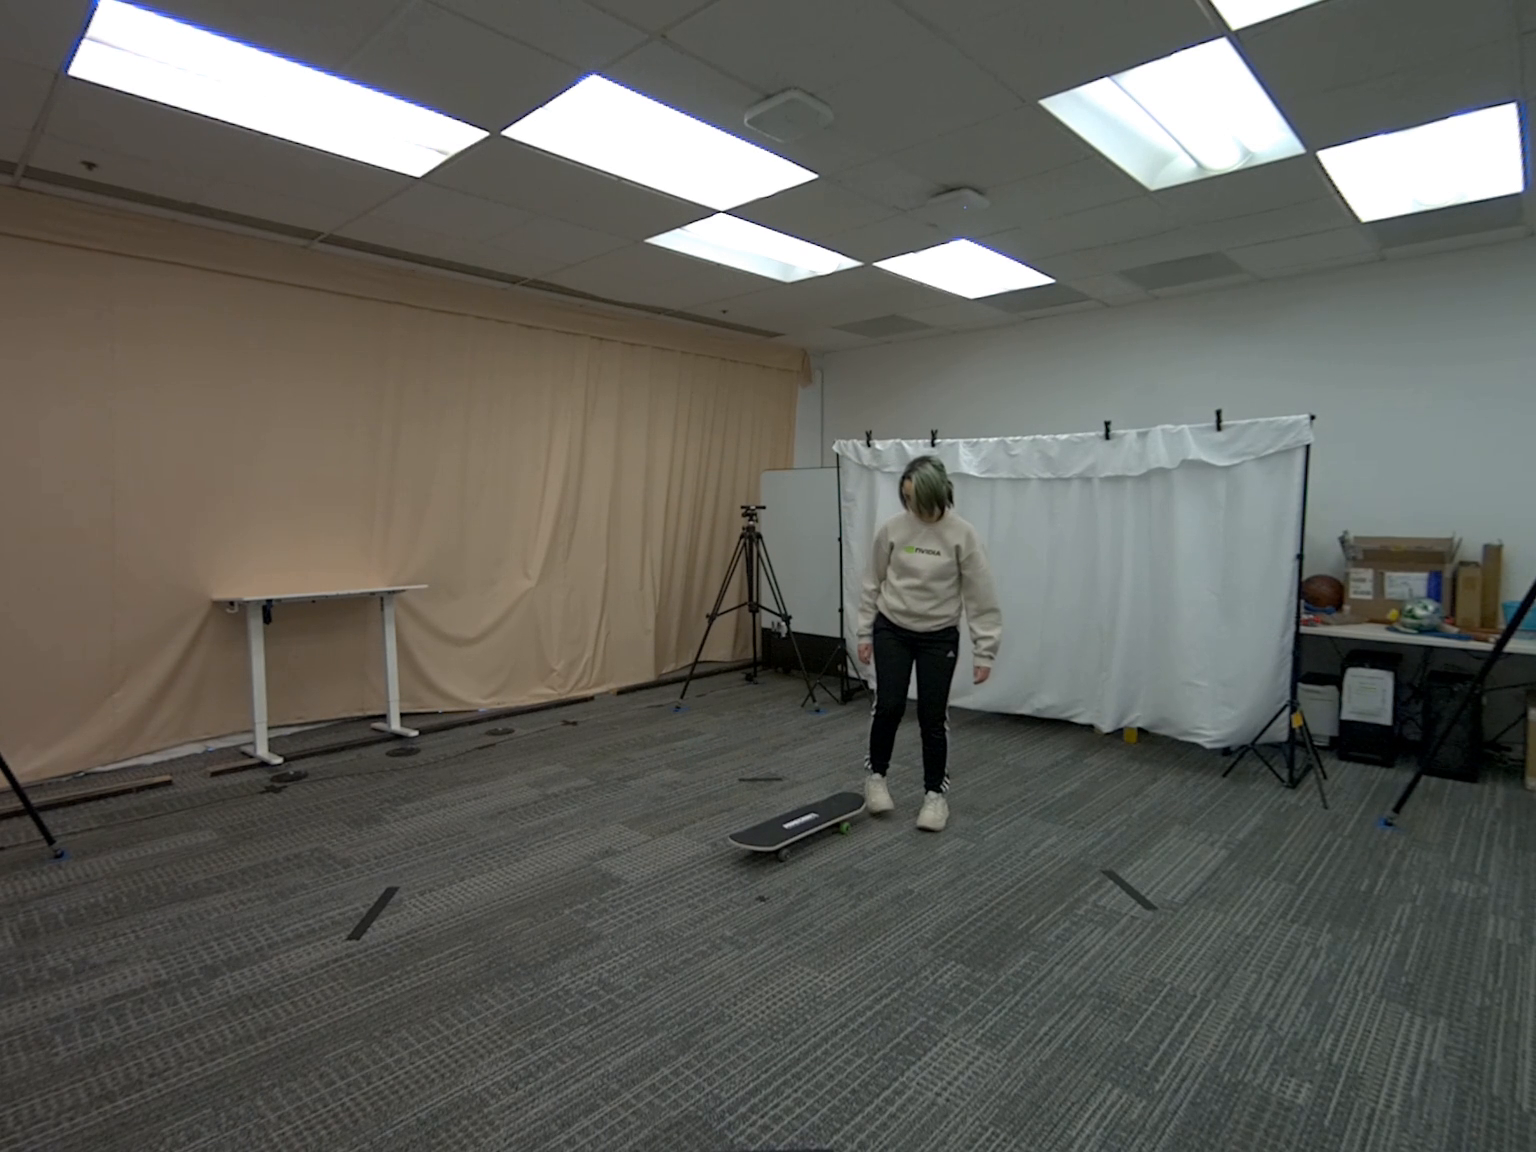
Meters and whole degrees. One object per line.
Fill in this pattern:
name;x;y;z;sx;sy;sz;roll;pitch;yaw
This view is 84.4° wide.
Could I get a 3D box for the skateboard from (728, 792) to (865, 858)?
skateboard;0.135;1.048;3.483;0.200;0.110;0.761;5;6;43
